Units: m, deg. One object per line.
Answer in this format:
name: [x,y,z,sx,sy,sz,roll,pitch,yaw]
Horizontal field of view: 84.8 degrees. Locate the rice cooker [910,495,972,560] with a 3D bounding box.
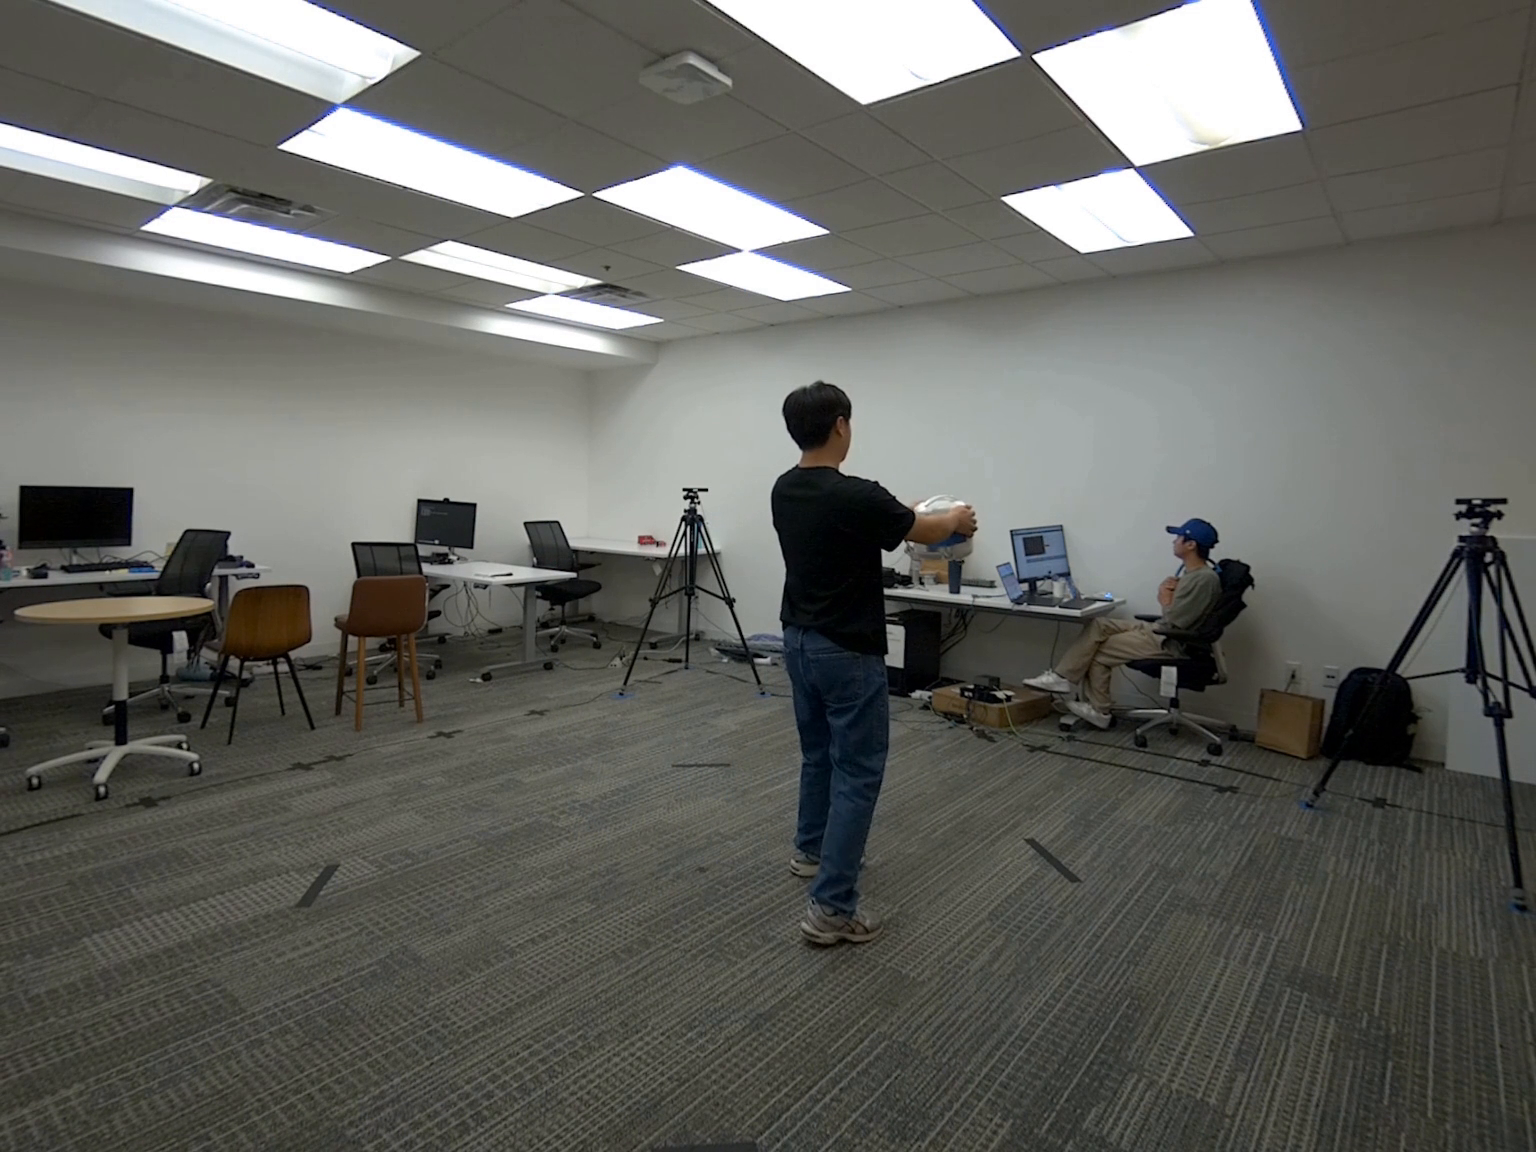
rice cooker: [0.634,-0.192,3.153,0.215,0.232,0.224,-8,5,-38]
